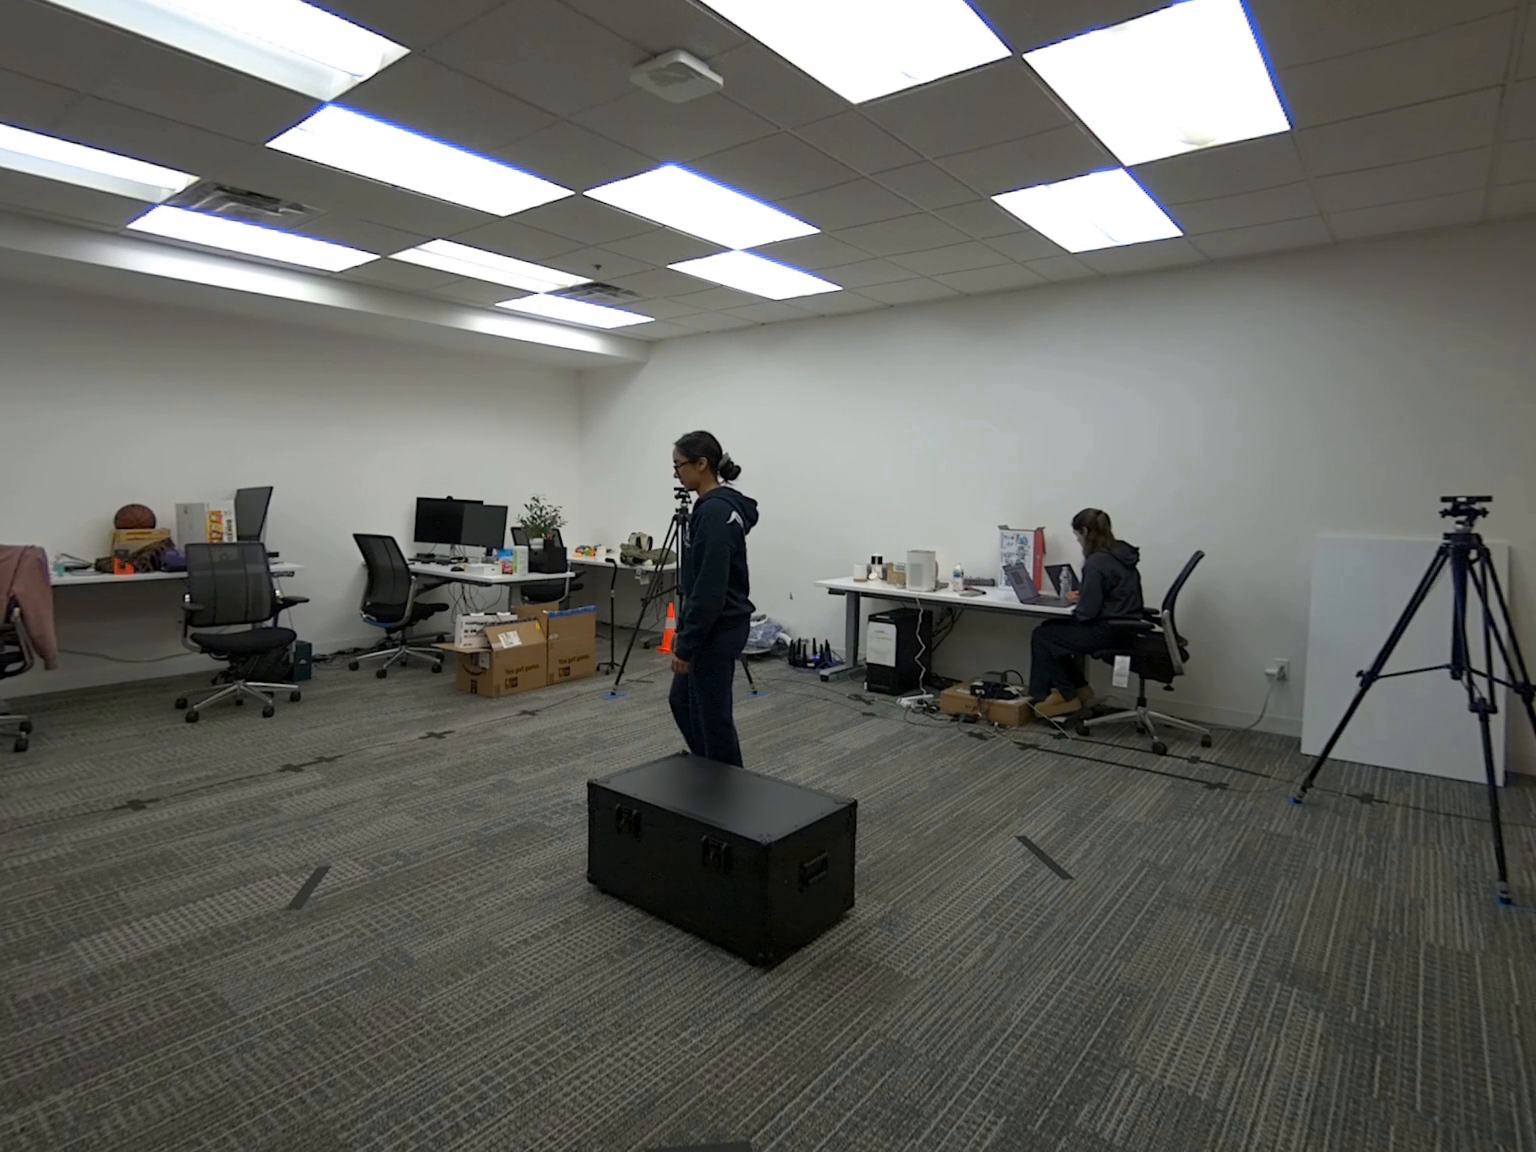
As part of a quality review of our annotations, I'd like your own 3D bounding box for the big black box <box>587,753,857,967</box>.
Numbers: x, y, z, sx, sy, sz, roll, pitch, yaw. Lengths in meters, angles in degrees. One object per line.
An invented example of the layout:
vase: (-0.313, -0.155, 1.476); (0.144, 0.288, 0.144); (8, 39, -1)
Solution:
big black box: (-0.198, 0.899, 2.877); (0.891, 0.395, 0.506); (6, 6, 39)
